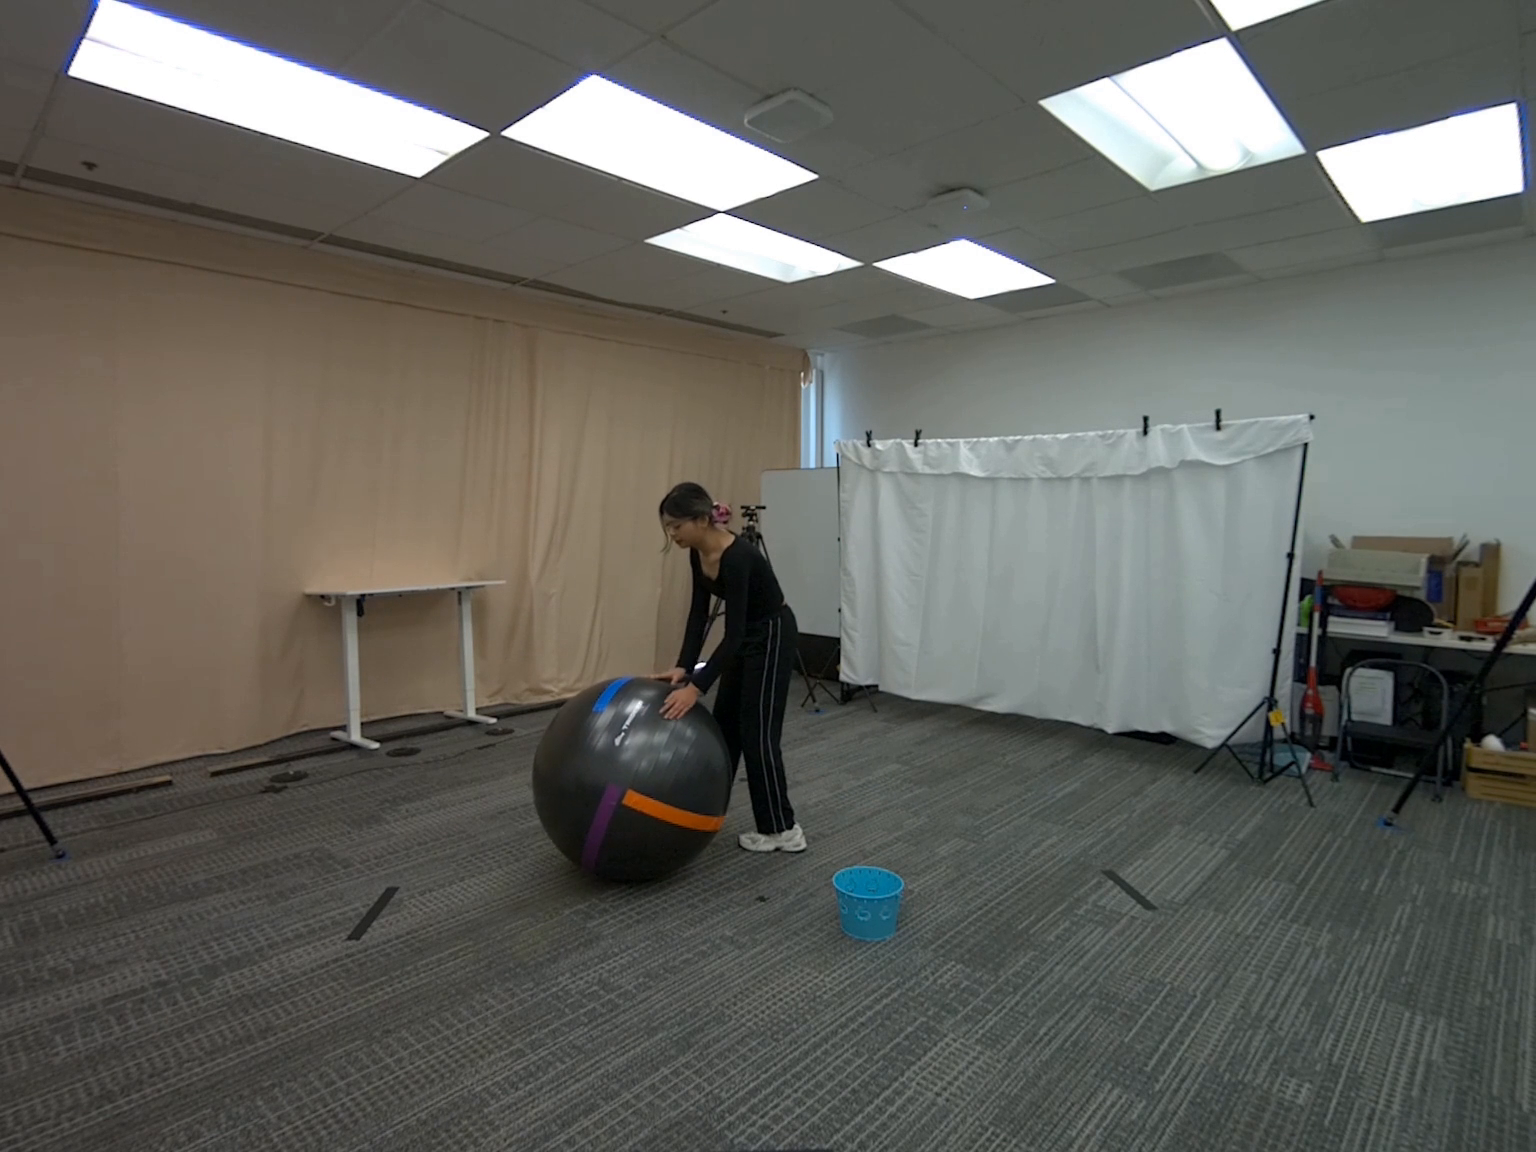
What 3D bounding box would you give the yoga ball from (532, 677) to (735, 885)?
[{"bbox_3d":[-0.522,0.764,3.222,0.757,0.756,0.760,0,4,-2],"label":"yoga ball"}]
